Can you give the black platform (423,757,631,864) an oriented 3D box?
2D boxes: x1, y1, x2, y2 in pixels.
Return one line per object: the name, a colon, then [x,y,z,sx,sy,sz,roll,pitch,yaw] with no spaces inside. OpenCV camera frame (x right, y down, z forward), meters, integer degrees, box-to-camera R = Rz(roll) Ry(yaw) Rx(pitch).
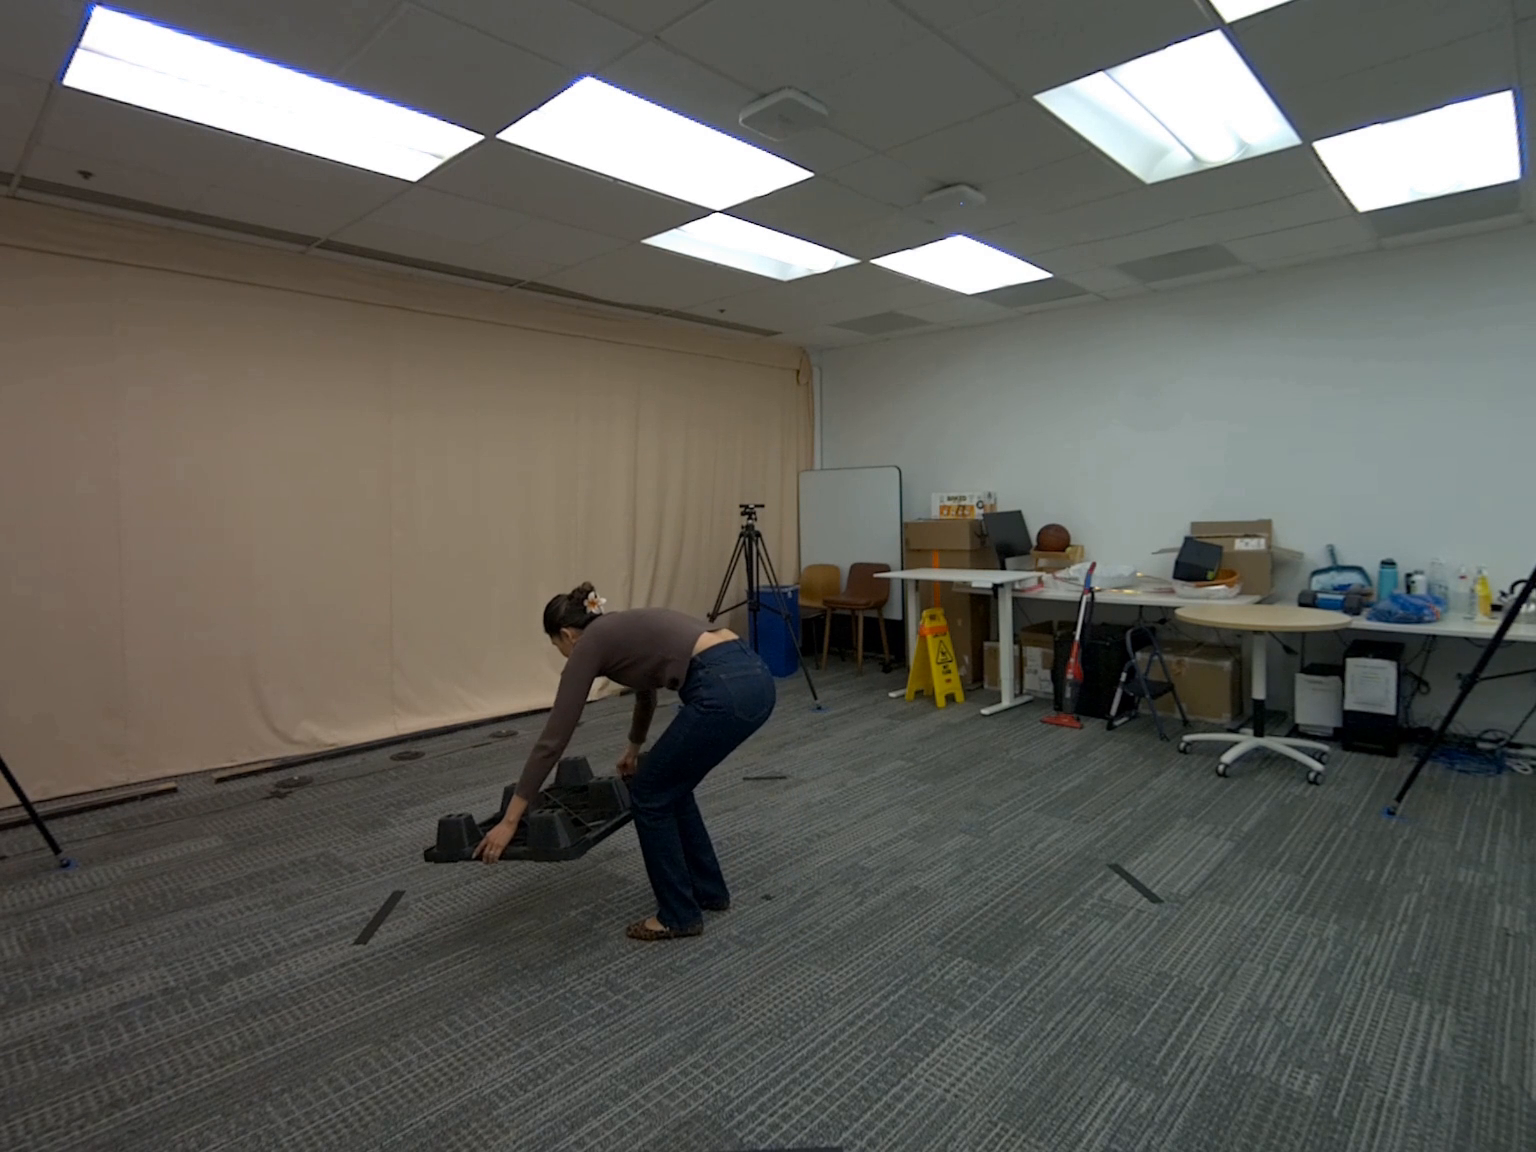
black platform: [-0.727,0.802,2.990,0.618,0.143,0.789,-8,1,22]
